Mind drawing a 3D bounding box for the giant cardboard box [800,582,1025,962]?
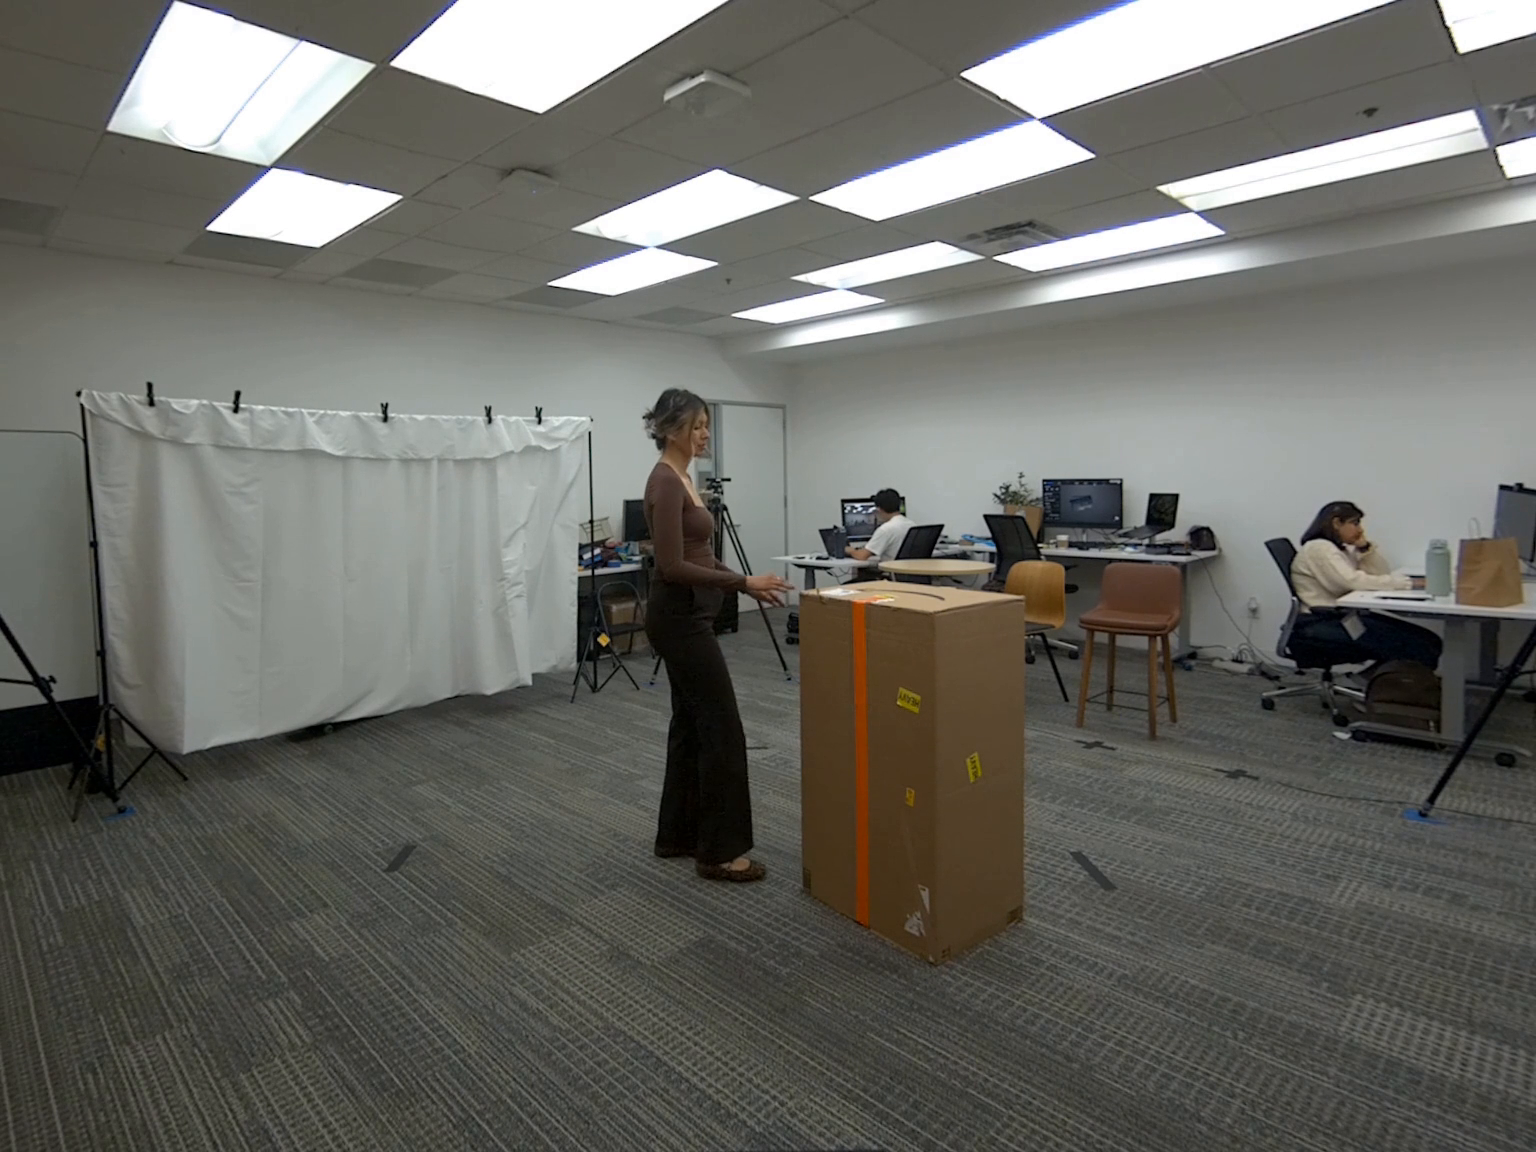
[{"bbox_3d":[0.455,0.566,2.742,0.435,1.023,0.601,-5,5,-36],"label":"giant cardboard box"}]
